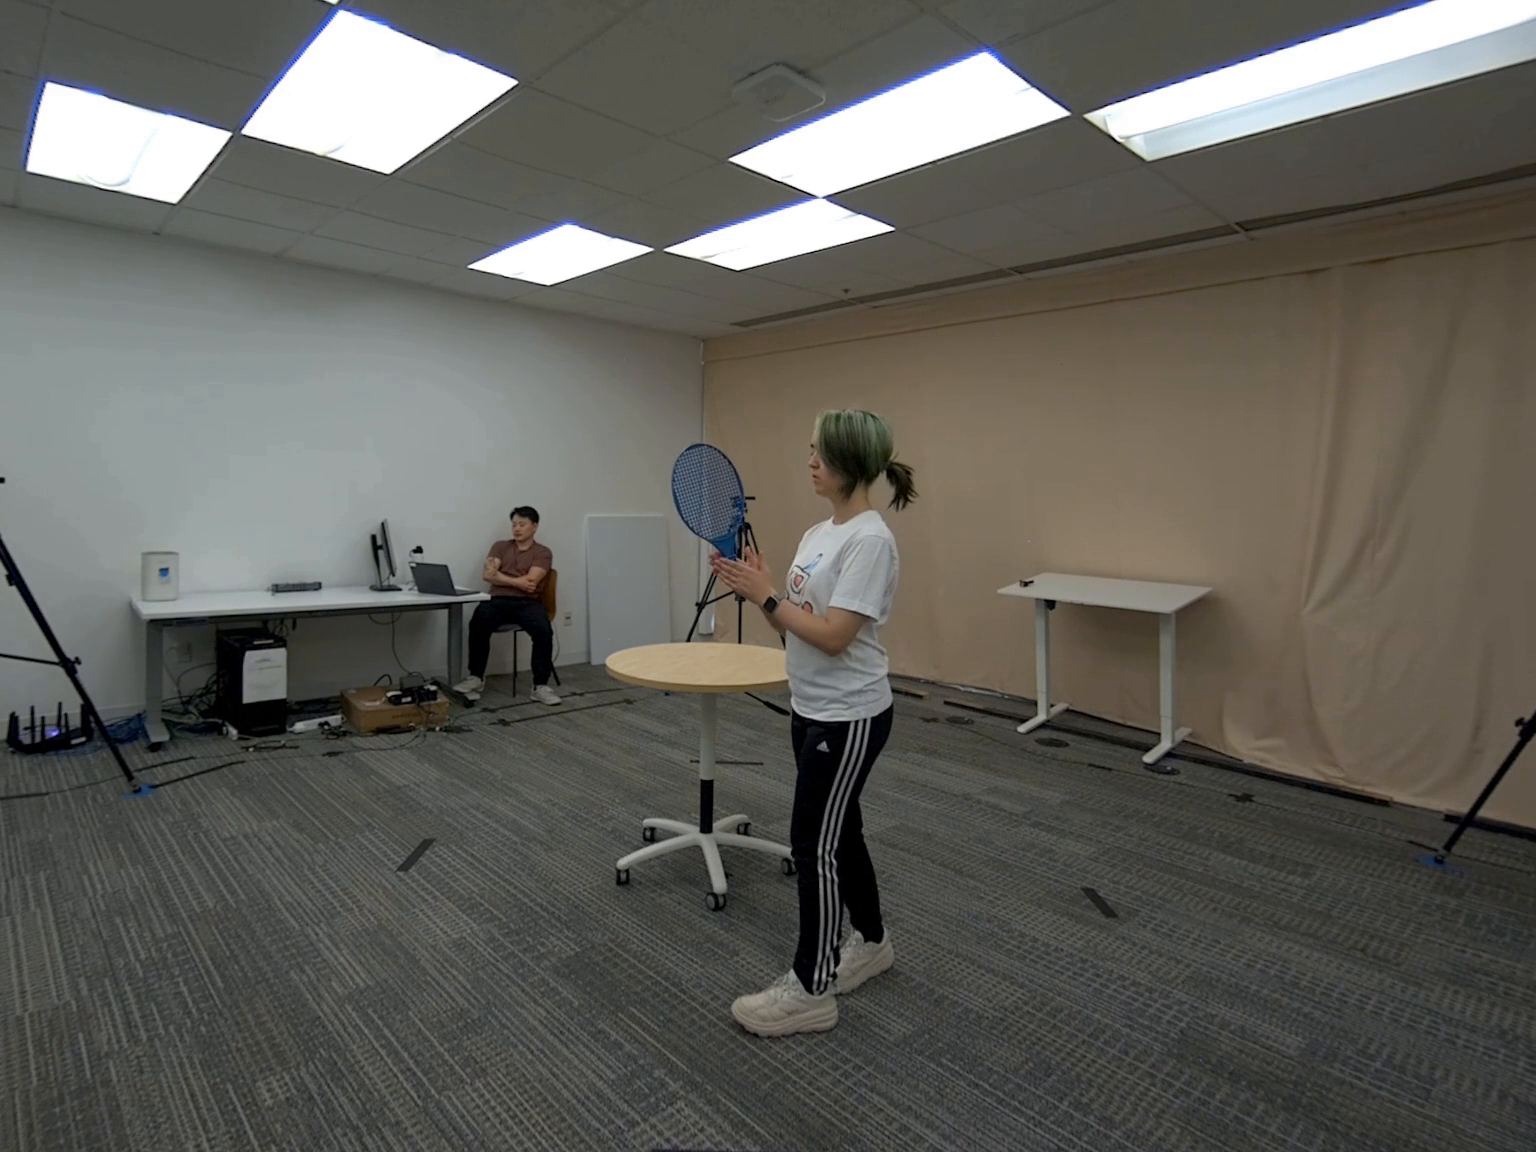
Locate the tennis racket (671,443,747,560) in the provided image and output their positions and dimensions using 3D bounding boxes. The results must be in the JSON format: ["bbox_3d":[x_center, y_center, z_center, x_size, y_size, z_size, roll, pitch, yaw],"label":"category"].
[{"bbox_3d":[-0.127,-0.145,2.255,0.212,0.429,0.032,-24,9,-24],"label":"tennis racket"}]
